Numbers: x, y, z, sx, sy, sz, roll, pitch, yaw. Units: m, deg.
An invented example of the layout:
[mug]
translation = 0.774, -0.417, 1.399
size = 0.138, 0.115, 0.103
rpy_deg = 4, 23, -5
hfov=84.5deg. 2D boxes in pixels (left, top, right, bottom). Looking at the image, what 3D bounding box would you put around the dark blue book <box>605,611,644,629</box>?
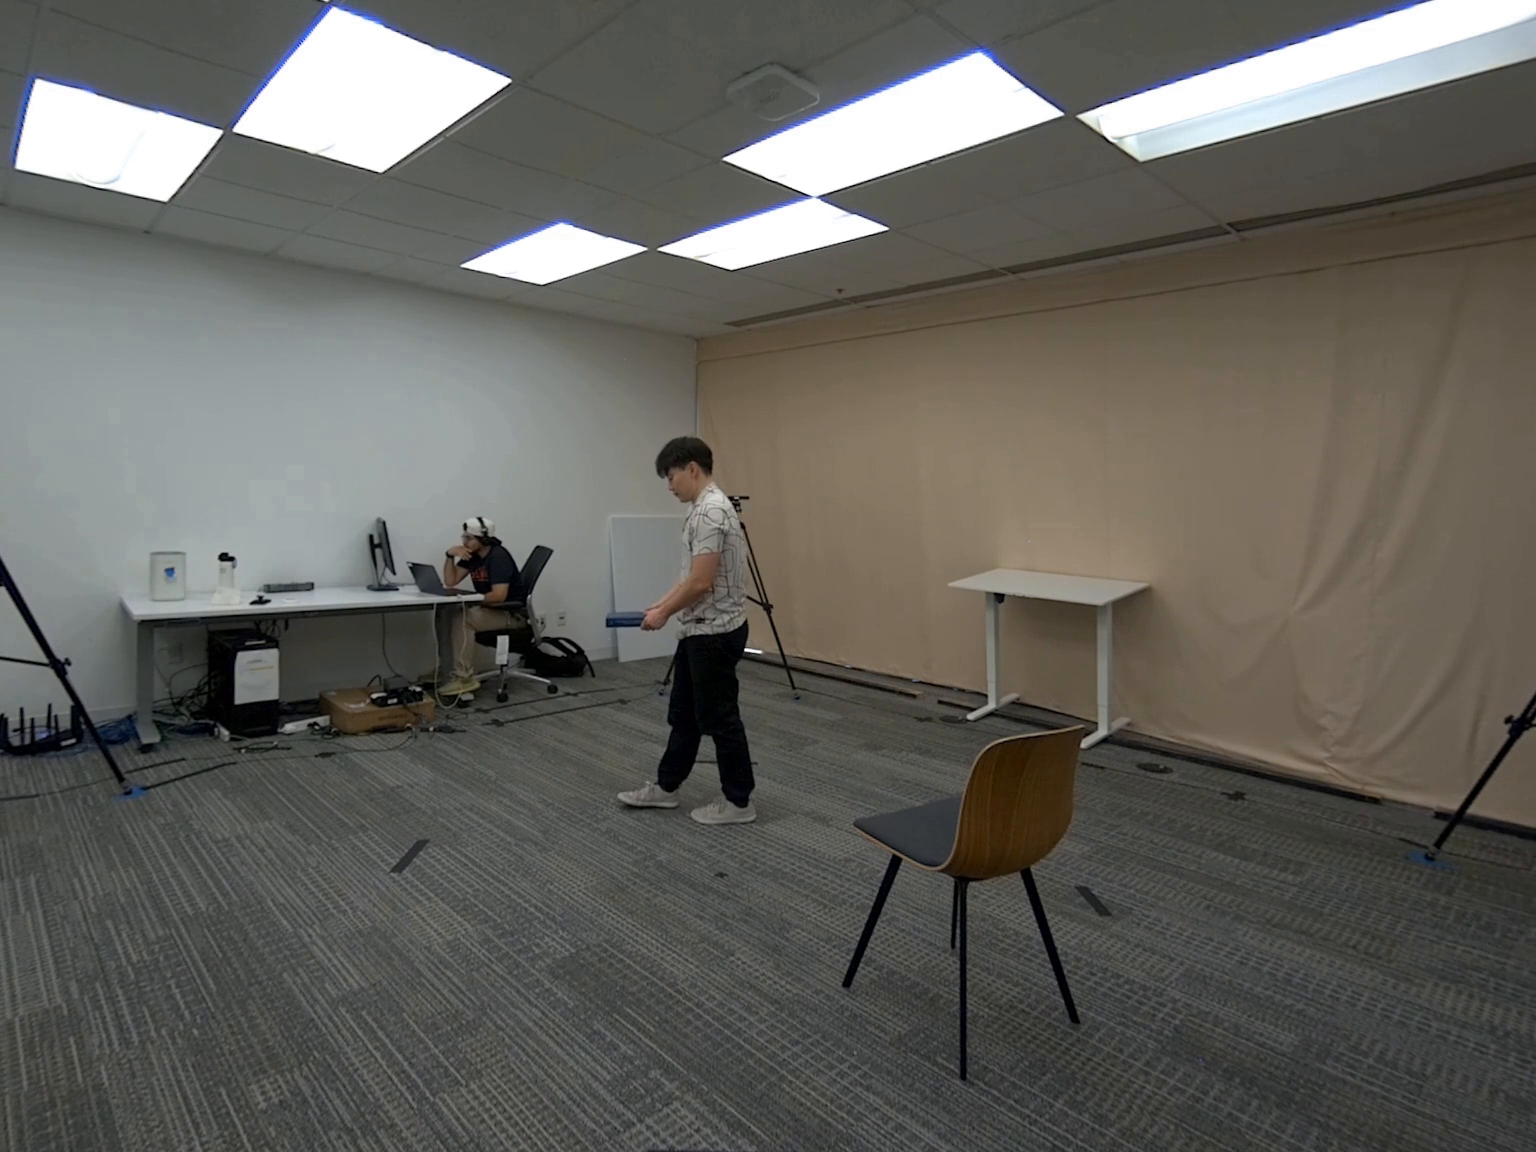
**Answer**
[dark blue book]
translation = -0.571, 0.188, 3.588
size = 0.245, 0.045, 0.164
rpy_deg = 0, 6, 0
